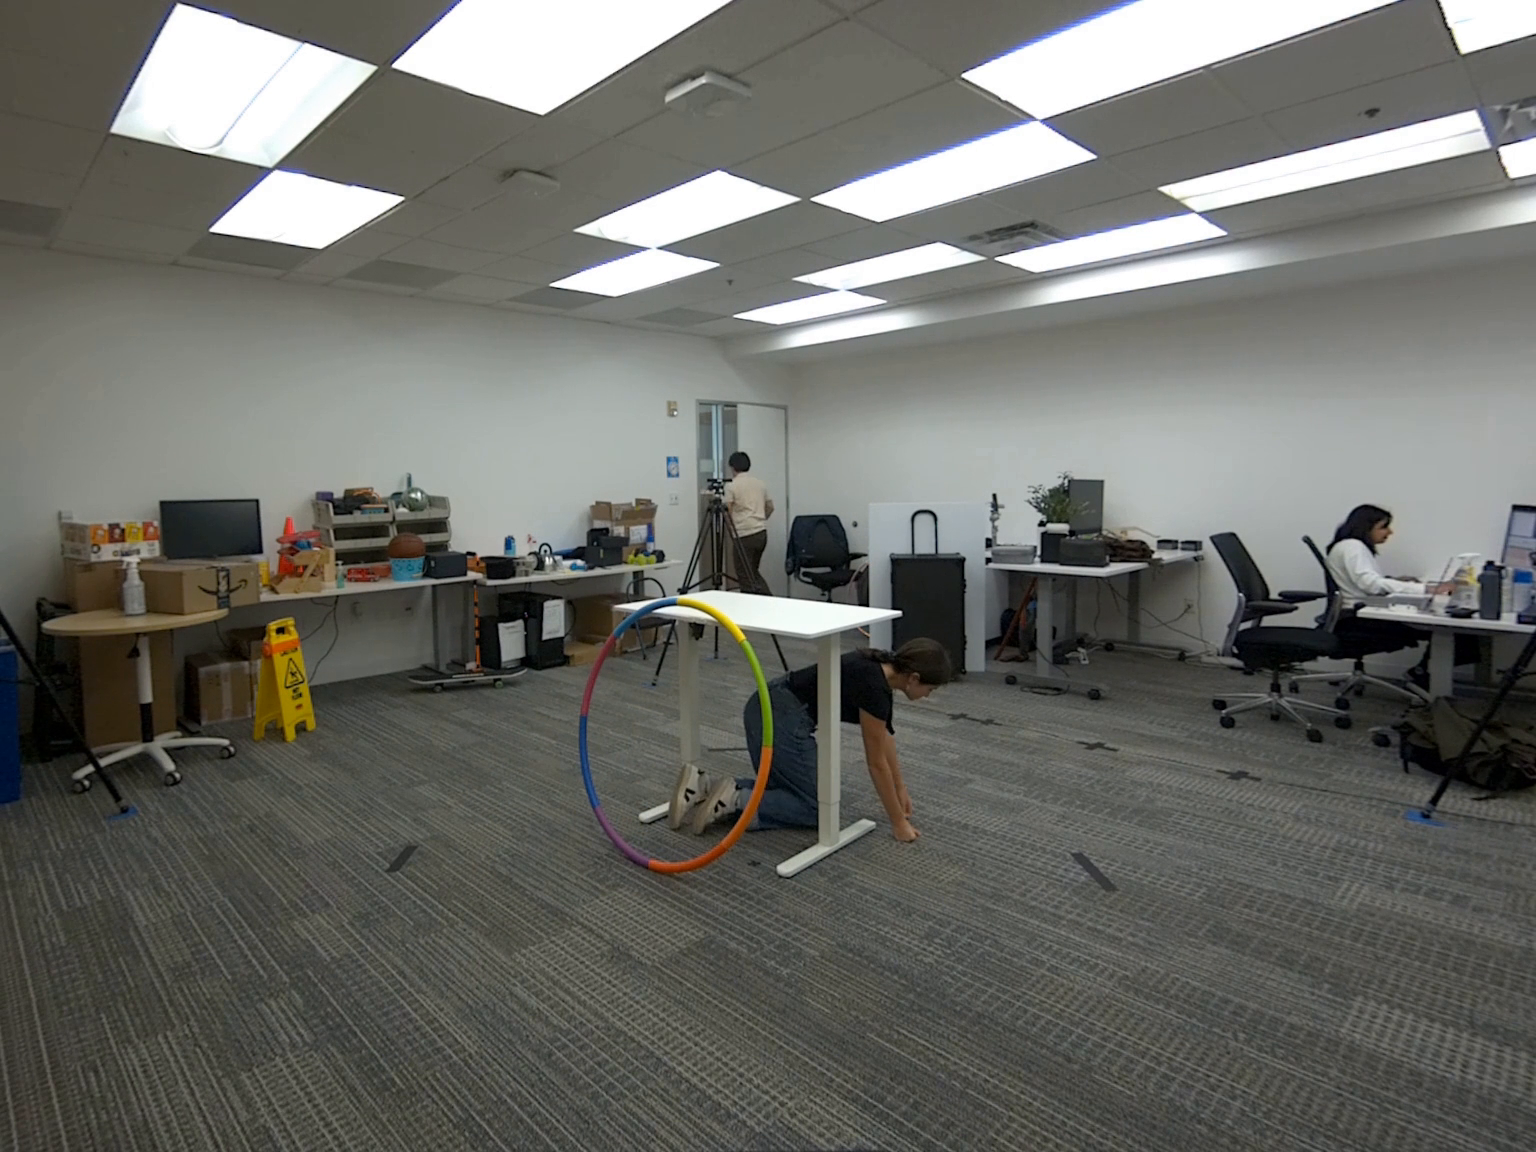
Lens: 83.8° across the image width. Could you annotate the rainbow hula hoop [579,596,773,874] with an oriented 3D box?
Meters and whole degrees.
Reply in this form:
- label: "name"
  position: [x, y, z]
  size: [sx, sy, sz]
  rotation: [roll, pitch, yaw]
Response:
- label: "rainbow hula hoop"
  position: [-0.373, 0.573, 3.155]
  size: [1.008, 0.984, 0.034]
  rotation: [3, -9, 41]
